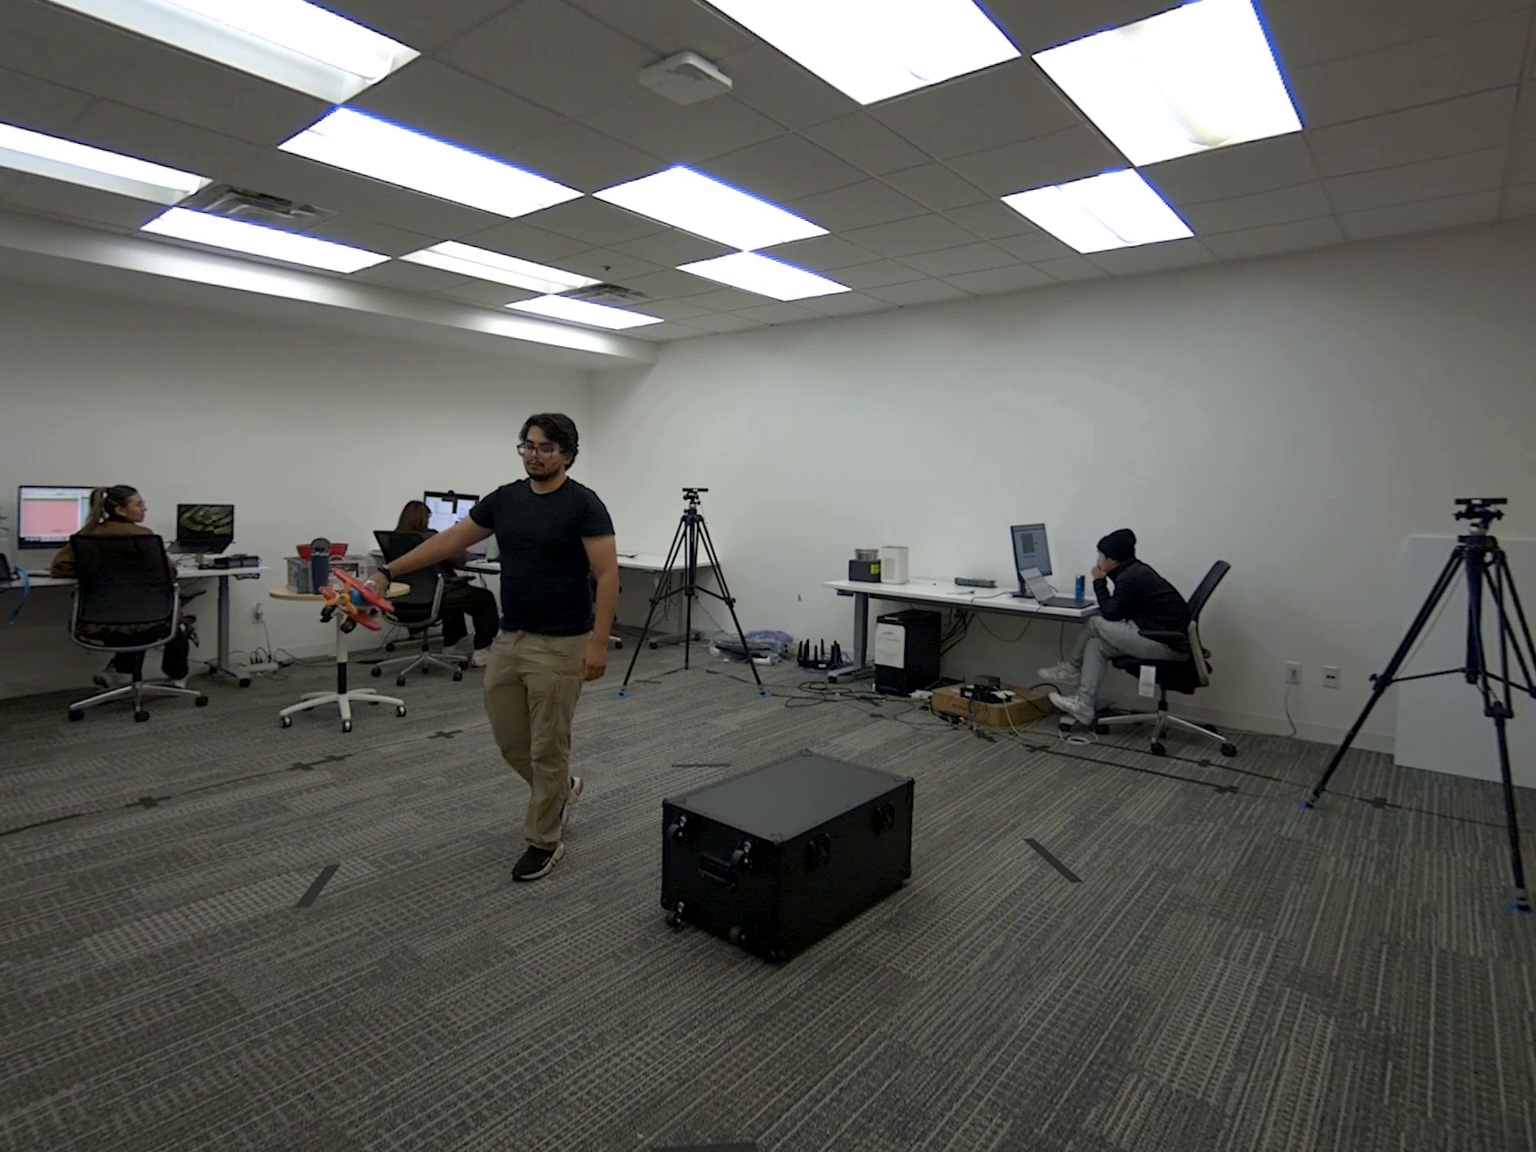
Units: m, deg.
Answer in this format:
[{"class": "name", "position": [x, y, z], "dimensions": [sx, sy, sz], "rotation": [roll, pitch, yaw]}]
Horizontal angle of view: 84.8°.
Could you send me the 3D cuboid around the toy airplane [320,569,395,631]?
[{"class": "toy airplane", "position": [-1.455, 0.082, 2.973], "dimensions": [0.244, 0.156, 0.267], "rotation": [27, 16, -21]}]
